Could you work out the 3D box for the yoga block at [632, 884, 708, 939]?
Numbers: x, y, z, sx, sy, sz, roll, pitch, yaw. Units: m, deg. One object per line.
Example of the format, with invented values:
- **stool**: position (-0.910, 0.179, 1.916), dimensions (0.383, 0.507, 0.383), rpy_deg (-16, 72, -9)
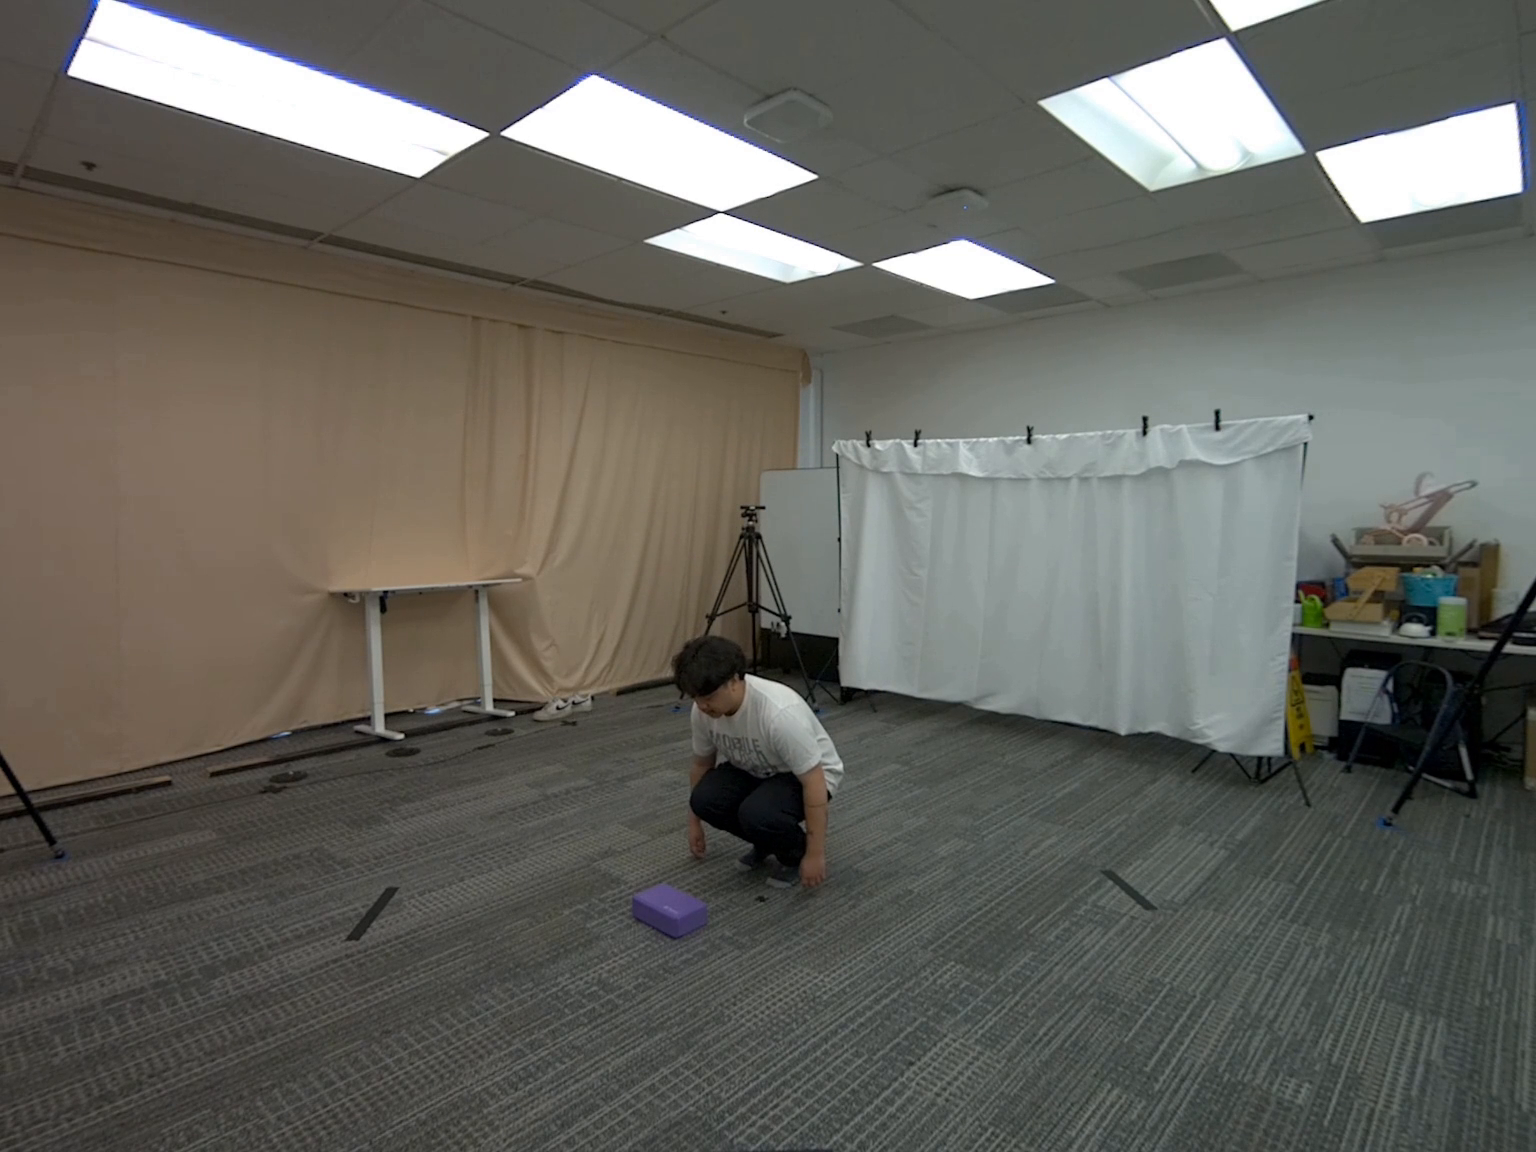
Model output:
- **yoga block**: position (-0.329, 1.117, 2.828), dimensions (0.237, 0.076, 0.144), rpy_deg (4, 7, 43)
